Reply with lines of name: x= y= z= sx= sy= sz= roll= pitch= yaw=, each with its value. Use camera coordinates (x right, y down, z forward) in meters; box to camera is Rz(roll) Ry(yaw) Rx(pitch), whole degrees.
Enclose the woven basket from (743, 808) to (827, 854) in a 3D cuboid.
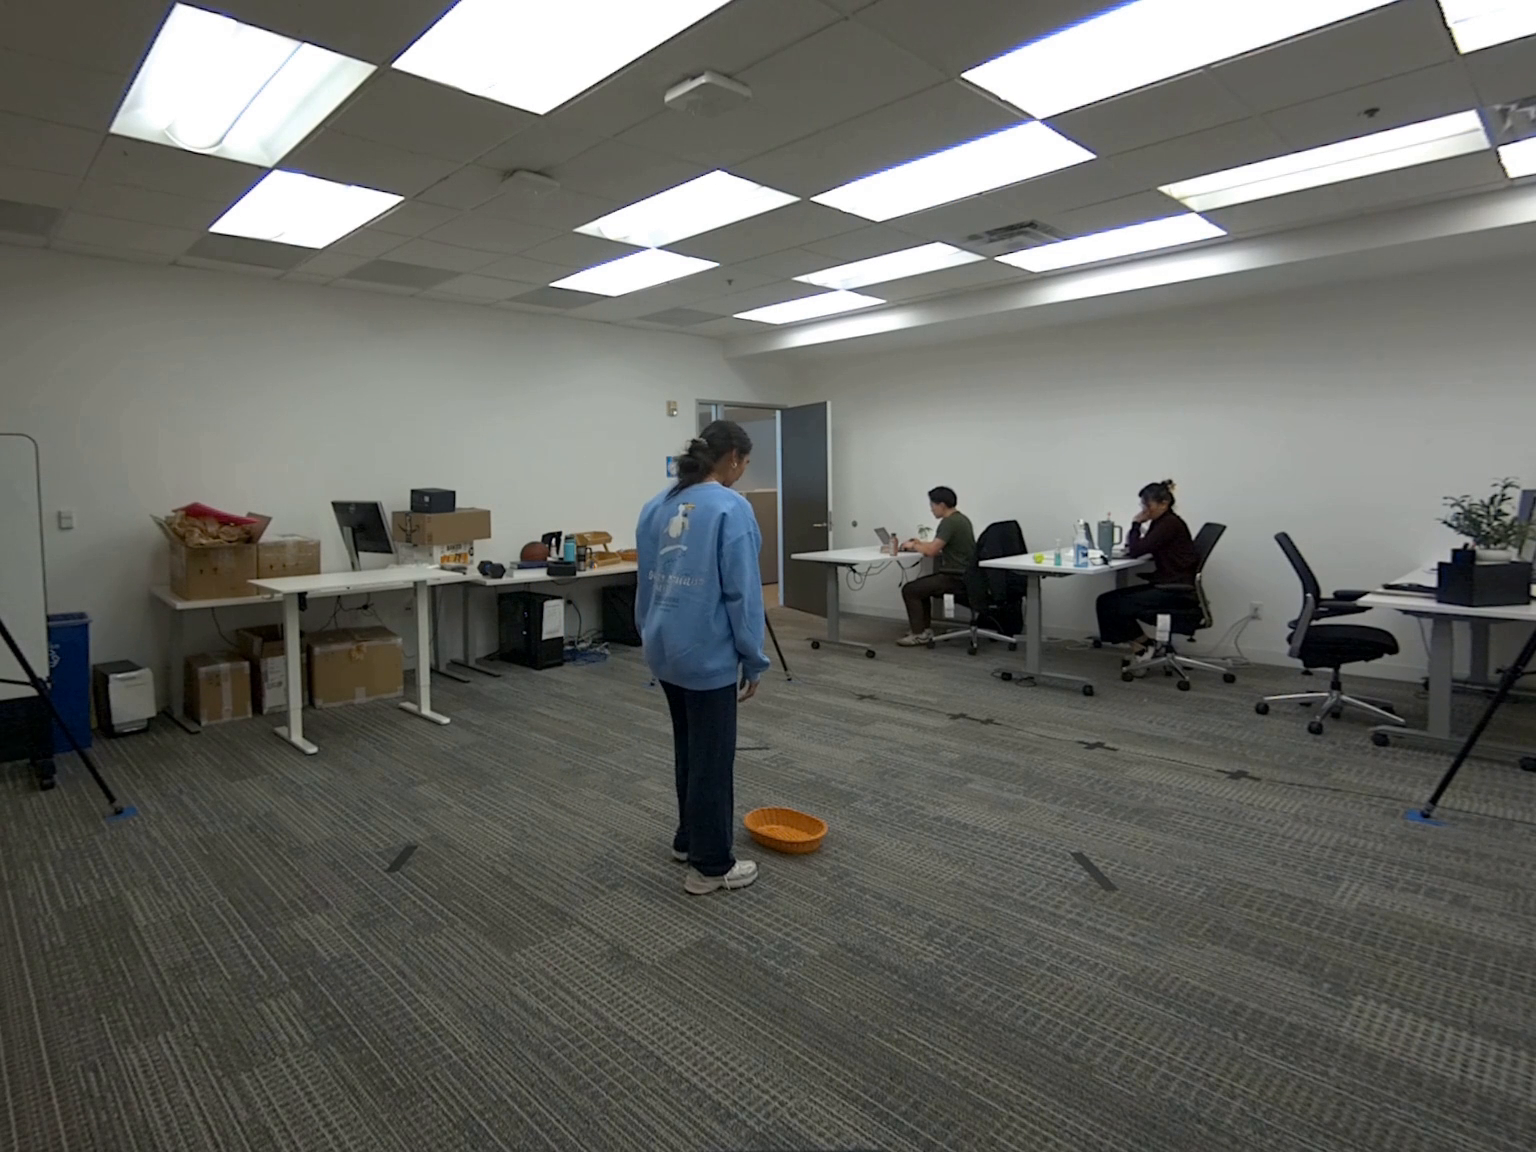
woven basket: x=0.064 y=0.982 z=3.289 sx=0.361 sy=0.073 sz=0.246 roll=5 pitch=10 yaw=43
